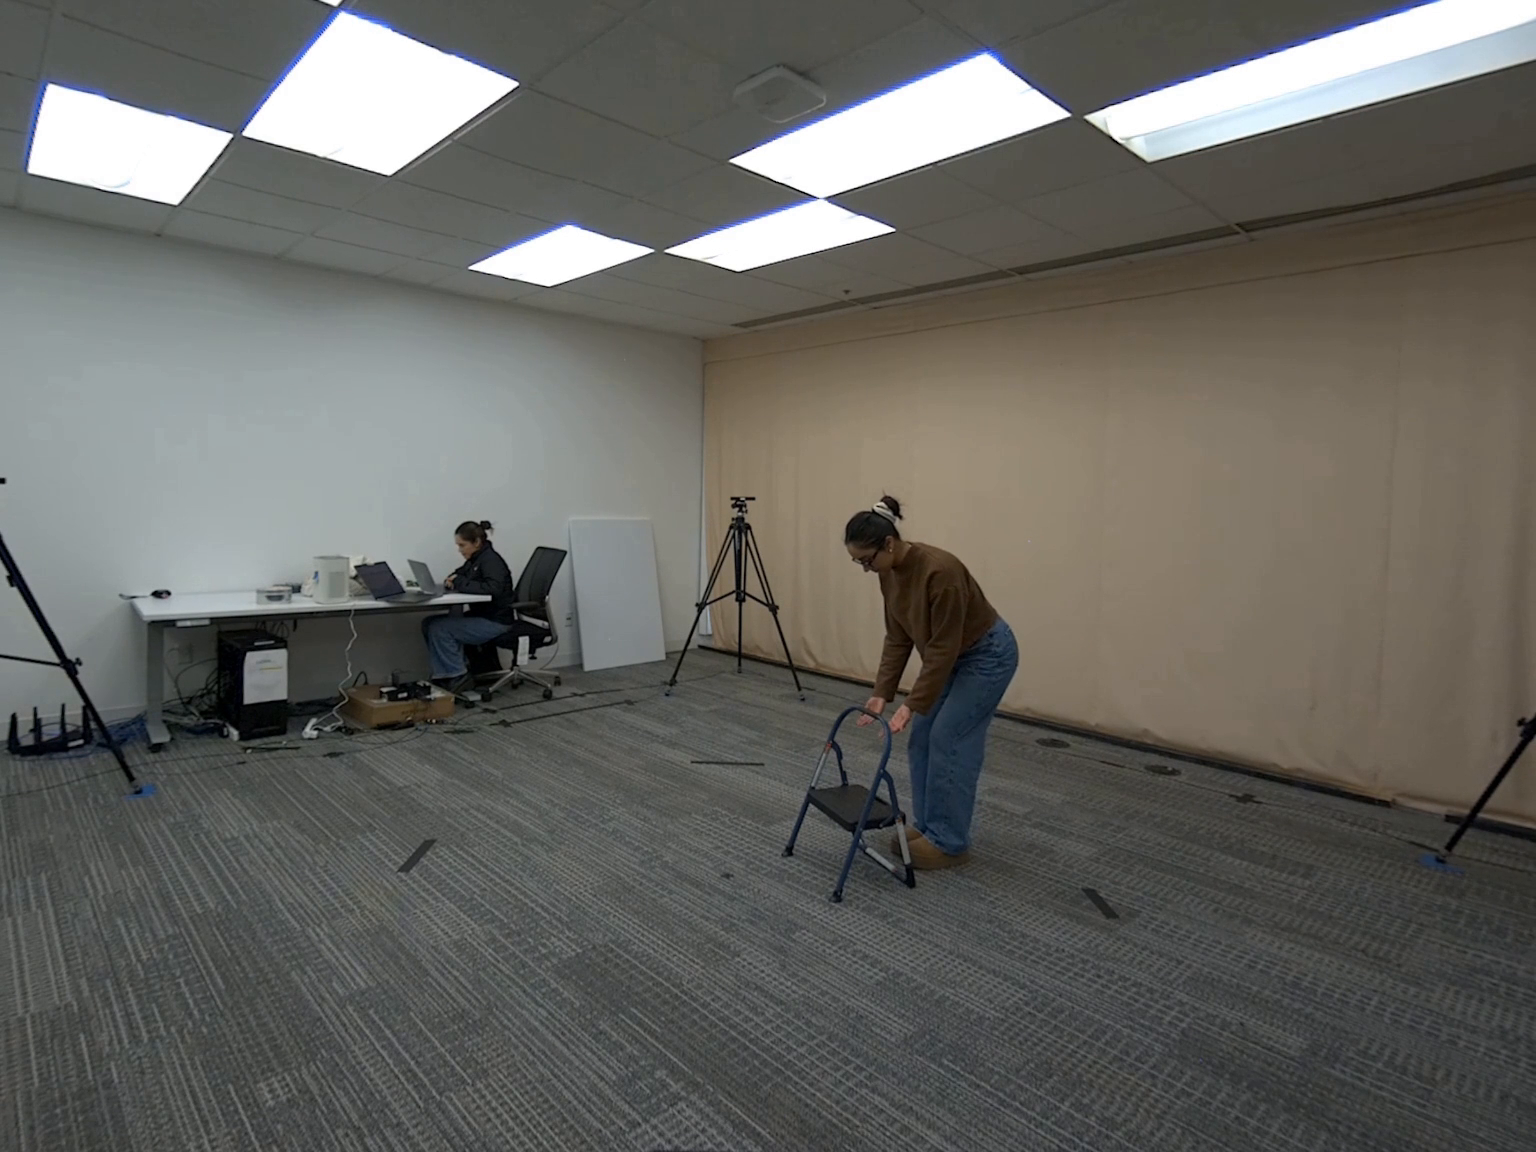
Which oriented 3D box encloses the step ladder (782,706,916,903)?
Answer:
[{"bbox_3d":[0.299,0.808,3.149,0.343,0.604,0.439,0,4,-24],"label":"step ladder"}]
